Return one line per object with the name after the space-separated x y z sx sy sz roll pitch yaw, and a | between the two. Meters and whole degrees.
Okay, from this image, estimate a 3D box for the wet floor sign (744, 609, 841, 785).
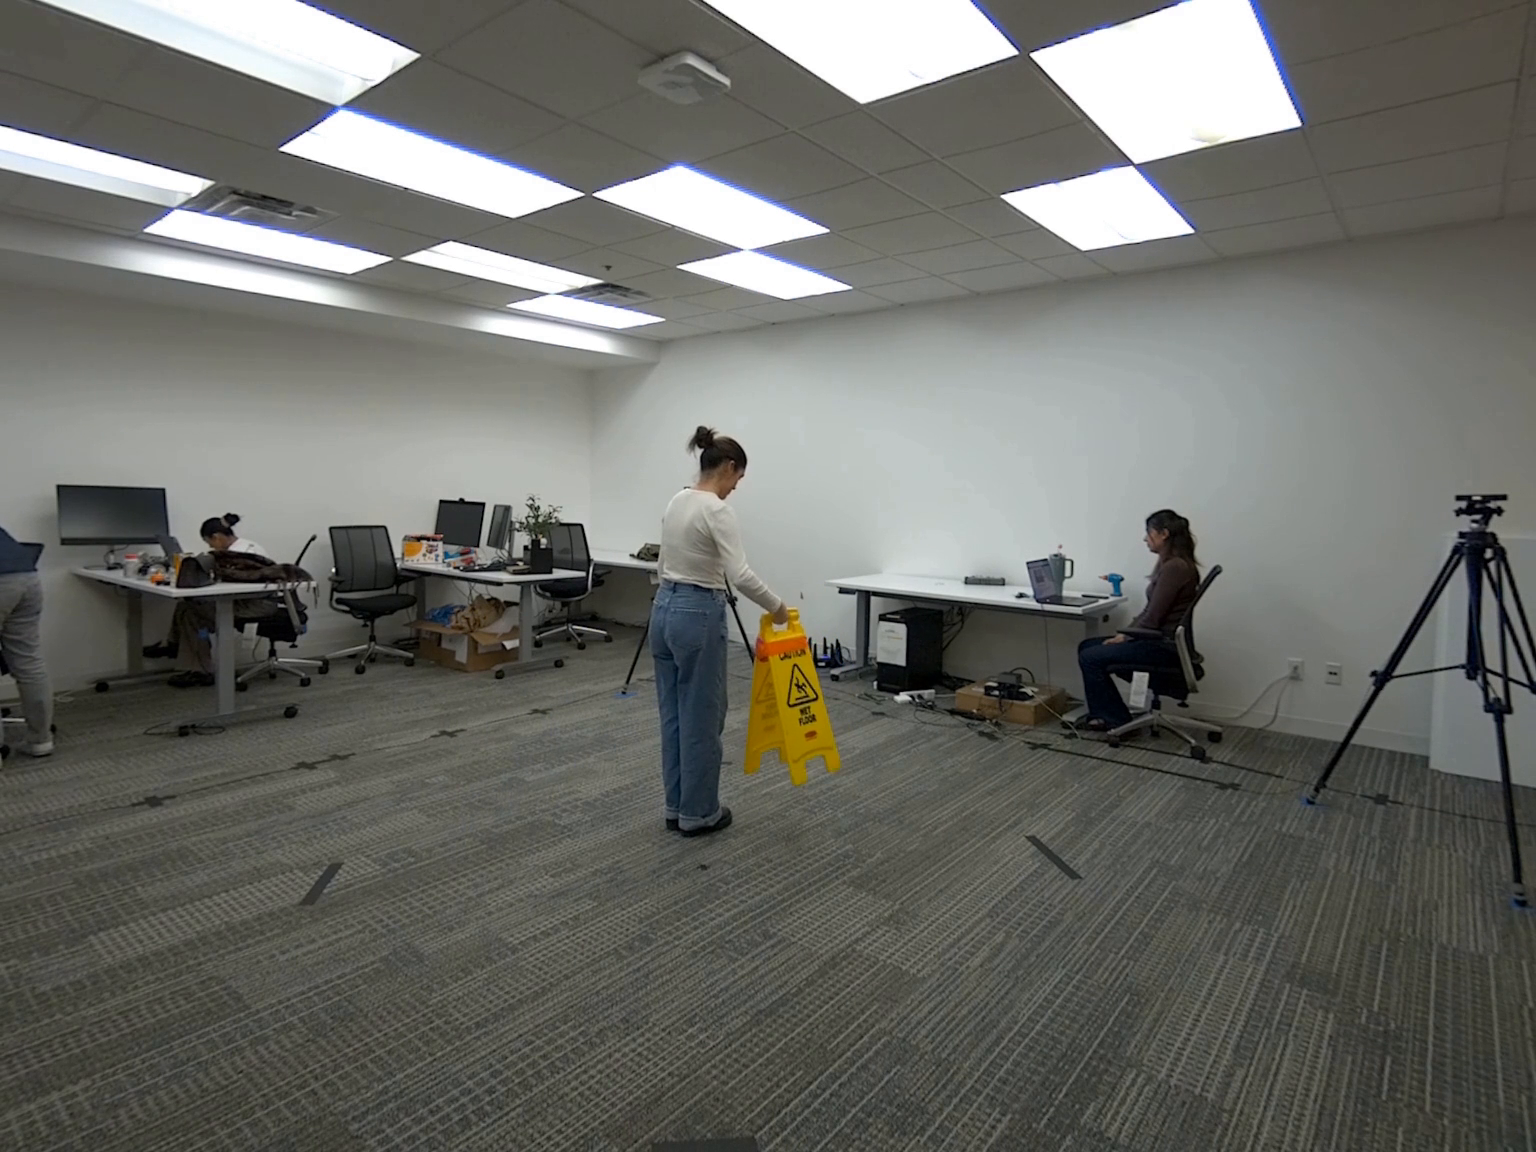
0.068 0.455 3.395 0.274 0.645 0.298 -5 2 -42 | wet floor sign
